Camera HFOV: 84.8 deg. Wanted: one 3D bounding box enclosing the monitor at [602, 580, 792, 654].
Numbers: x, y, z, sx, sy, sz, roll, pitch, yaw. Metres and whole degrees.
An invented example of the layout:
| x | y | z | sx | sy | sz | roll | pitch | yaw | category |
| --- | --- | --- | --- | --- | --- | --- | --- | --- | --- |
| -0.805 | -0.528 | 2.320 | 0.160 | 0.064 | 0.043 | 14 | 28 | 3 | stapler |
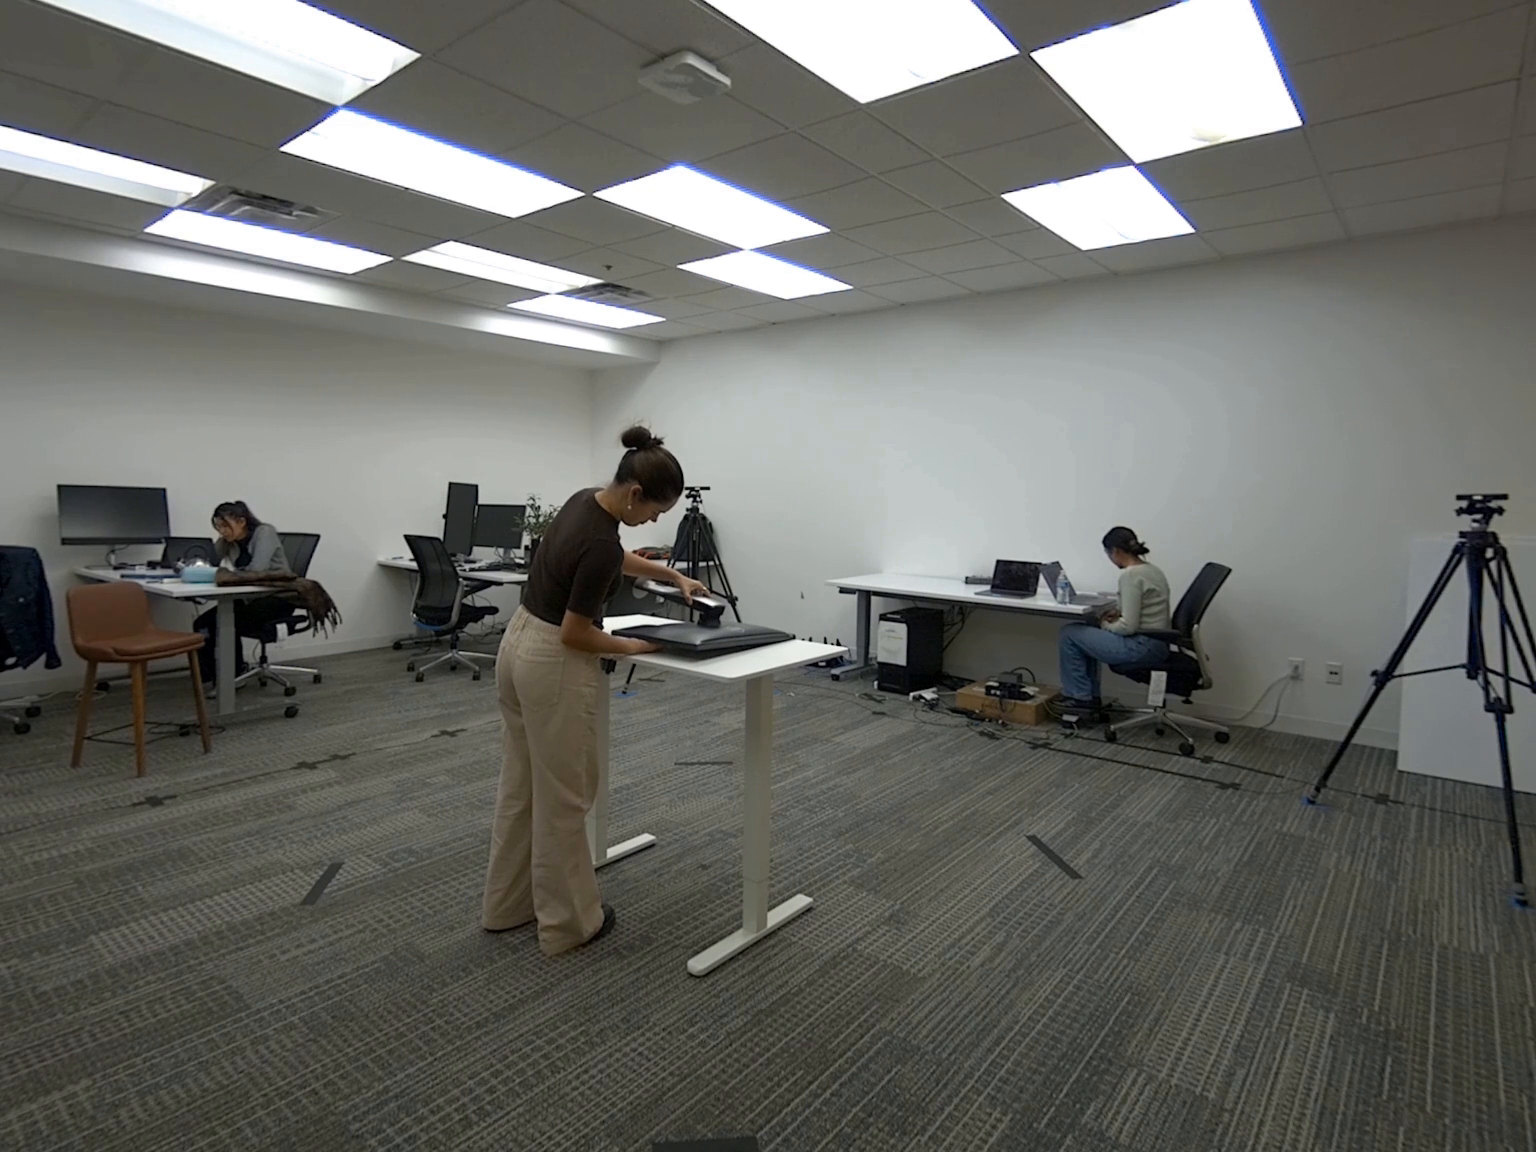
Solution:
| x | y | z | sx | sy | sz | roll | pitch | yaw | category |
| --- | --- | --- | --- | --- | --- | --- | --- | --- | --- |
| -0.274 | 0.135 | 2.832 | 0.543 | 0.185 | 0.523 | 24 | 17 | 35 | monitor |
